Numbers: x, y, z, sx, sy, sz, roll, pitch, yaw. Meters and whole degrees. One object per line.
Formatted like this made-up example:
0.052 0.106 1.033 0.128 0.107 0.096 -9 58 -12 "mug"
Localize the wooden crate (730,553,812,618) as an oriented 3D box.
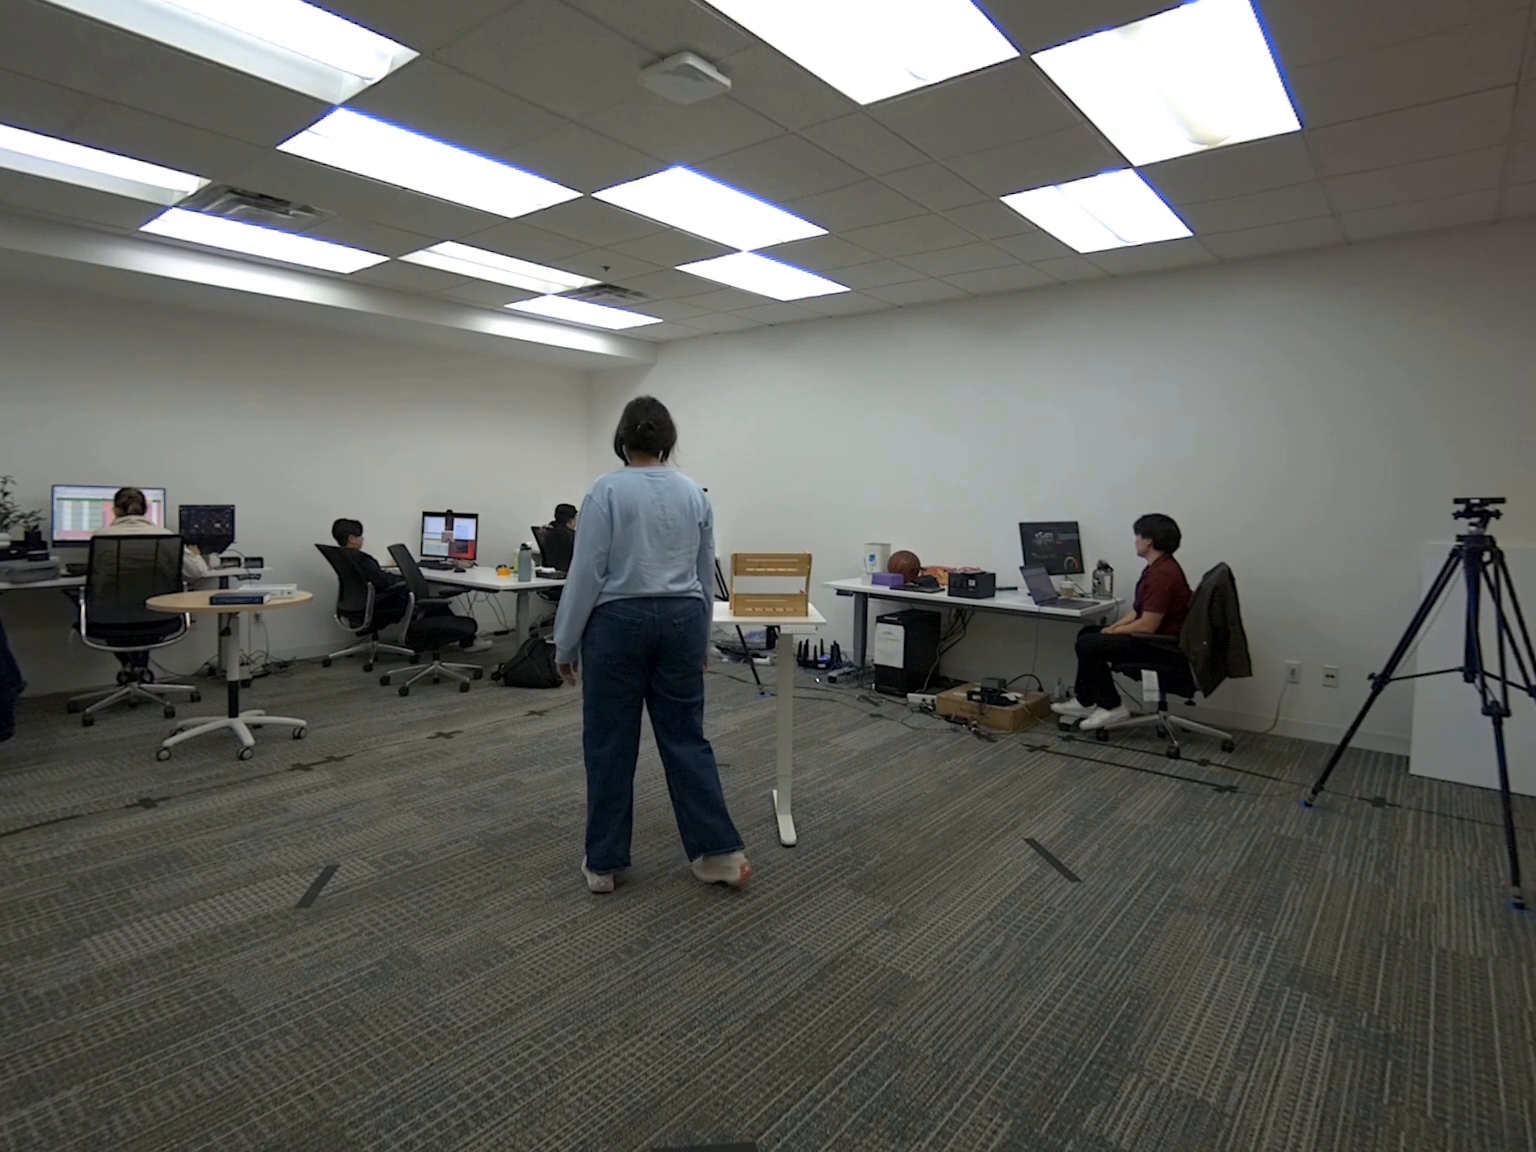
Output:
-0.006 0.016 3.507 0.324 0.272 0.304 1 5 -3 "wooden crate"
